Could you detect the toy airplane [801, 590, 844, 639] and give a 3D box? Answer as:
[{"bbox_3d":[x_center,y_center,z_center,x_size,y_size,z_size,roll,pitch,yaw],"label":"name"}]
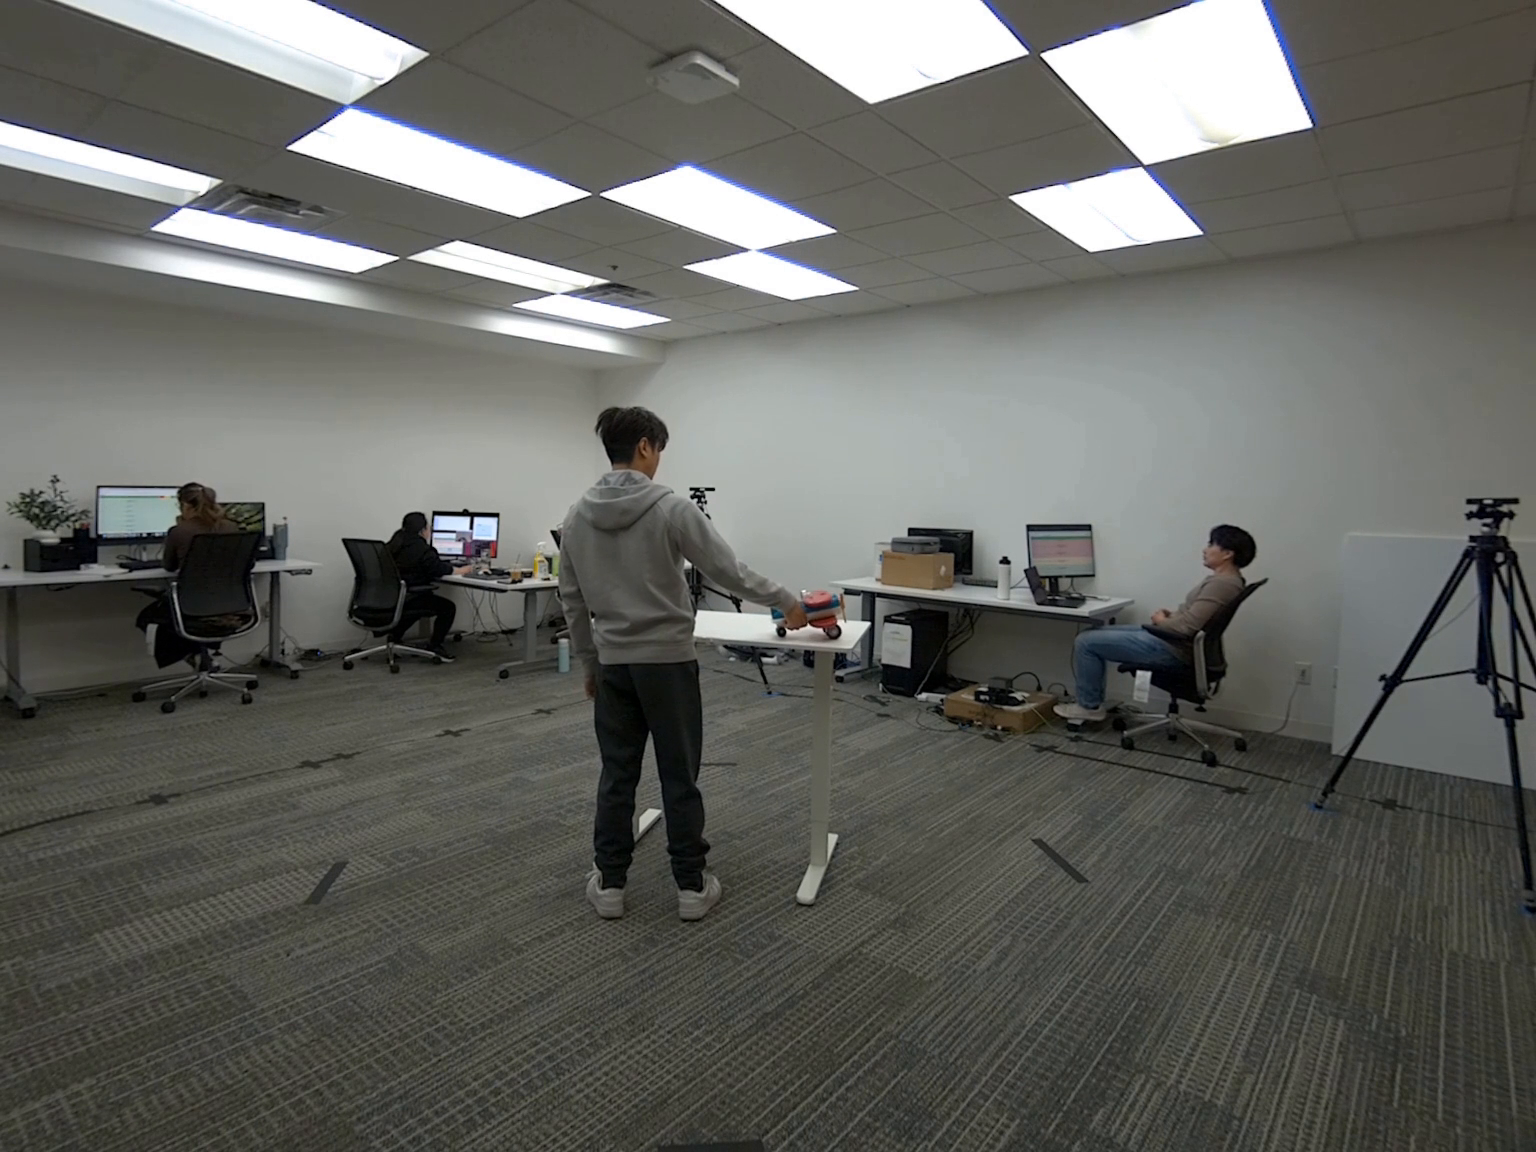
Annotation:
[{"bbox_3d":[0.133,0.136,2.940,0.252,0.156,0.259,-1,5,-29],"label":"toy airplane"}]
